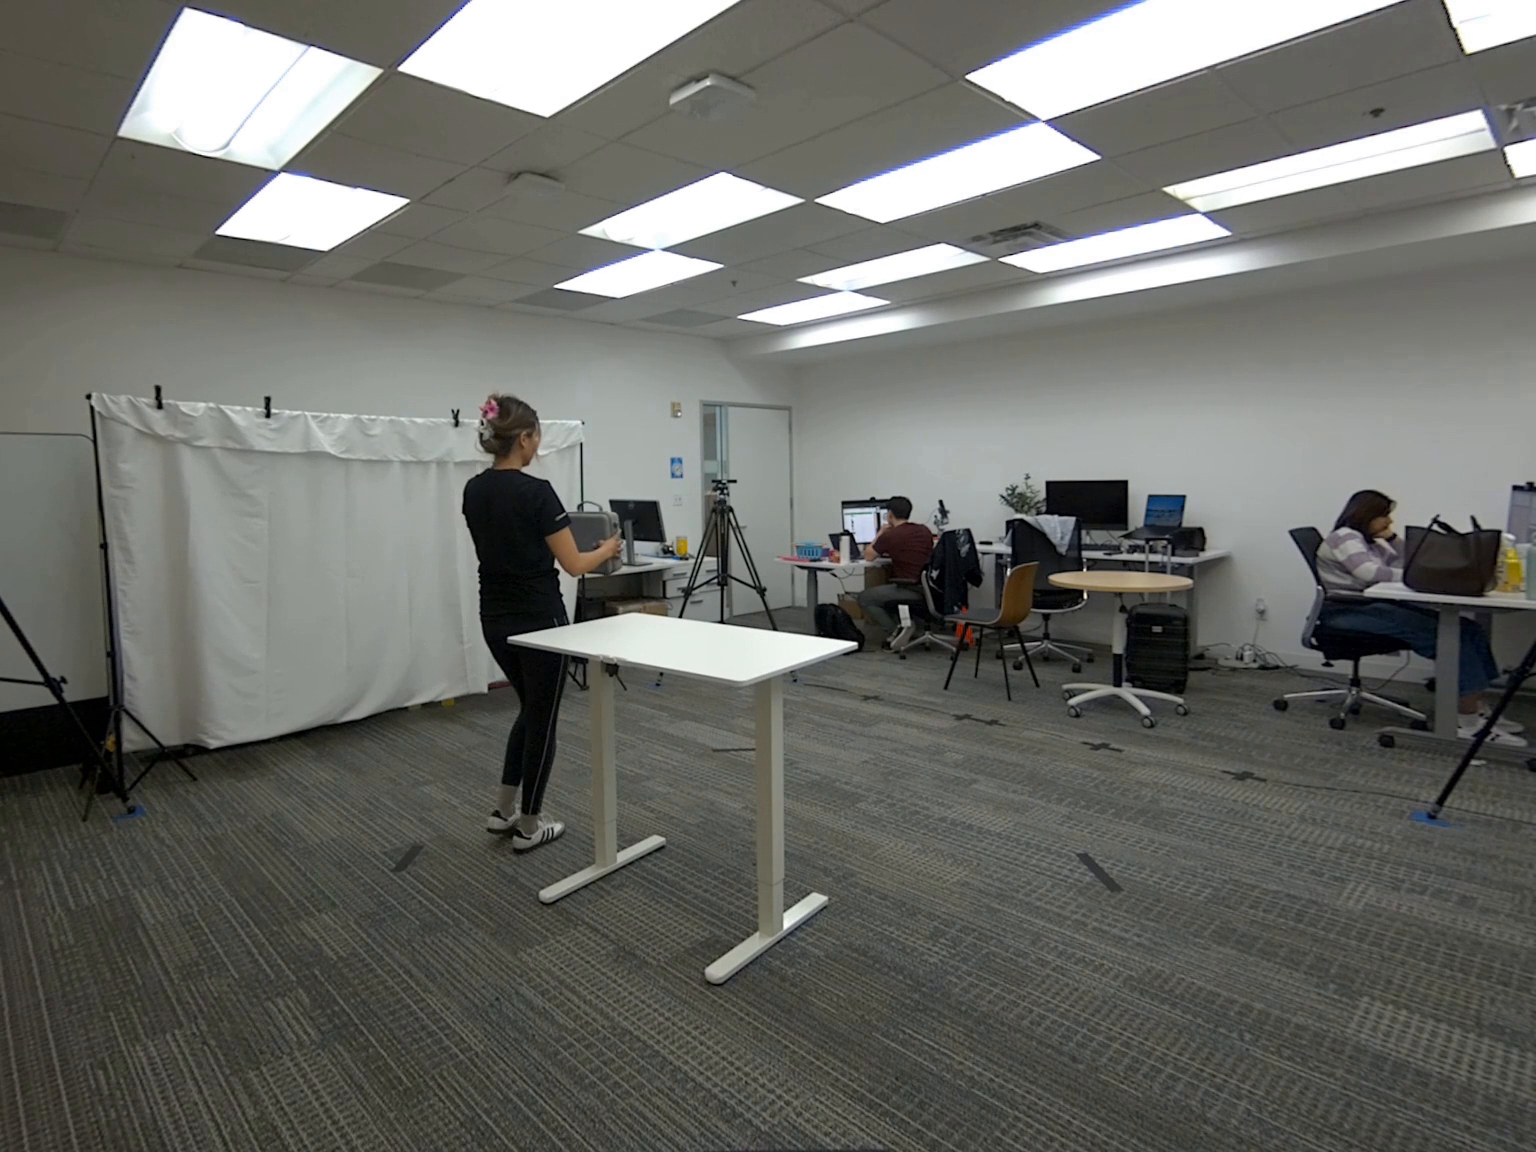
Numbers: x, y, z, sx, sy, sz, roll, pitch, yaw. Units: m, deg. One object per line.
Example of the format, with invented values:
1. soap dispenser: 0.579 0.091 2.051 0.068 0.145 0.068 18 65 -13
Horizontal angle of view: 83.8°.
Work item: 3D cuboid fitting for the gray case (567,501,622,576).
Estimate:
1. gray case: -0.740 -0.144 3.533 0.263 0.259 0.102 3 8 29
